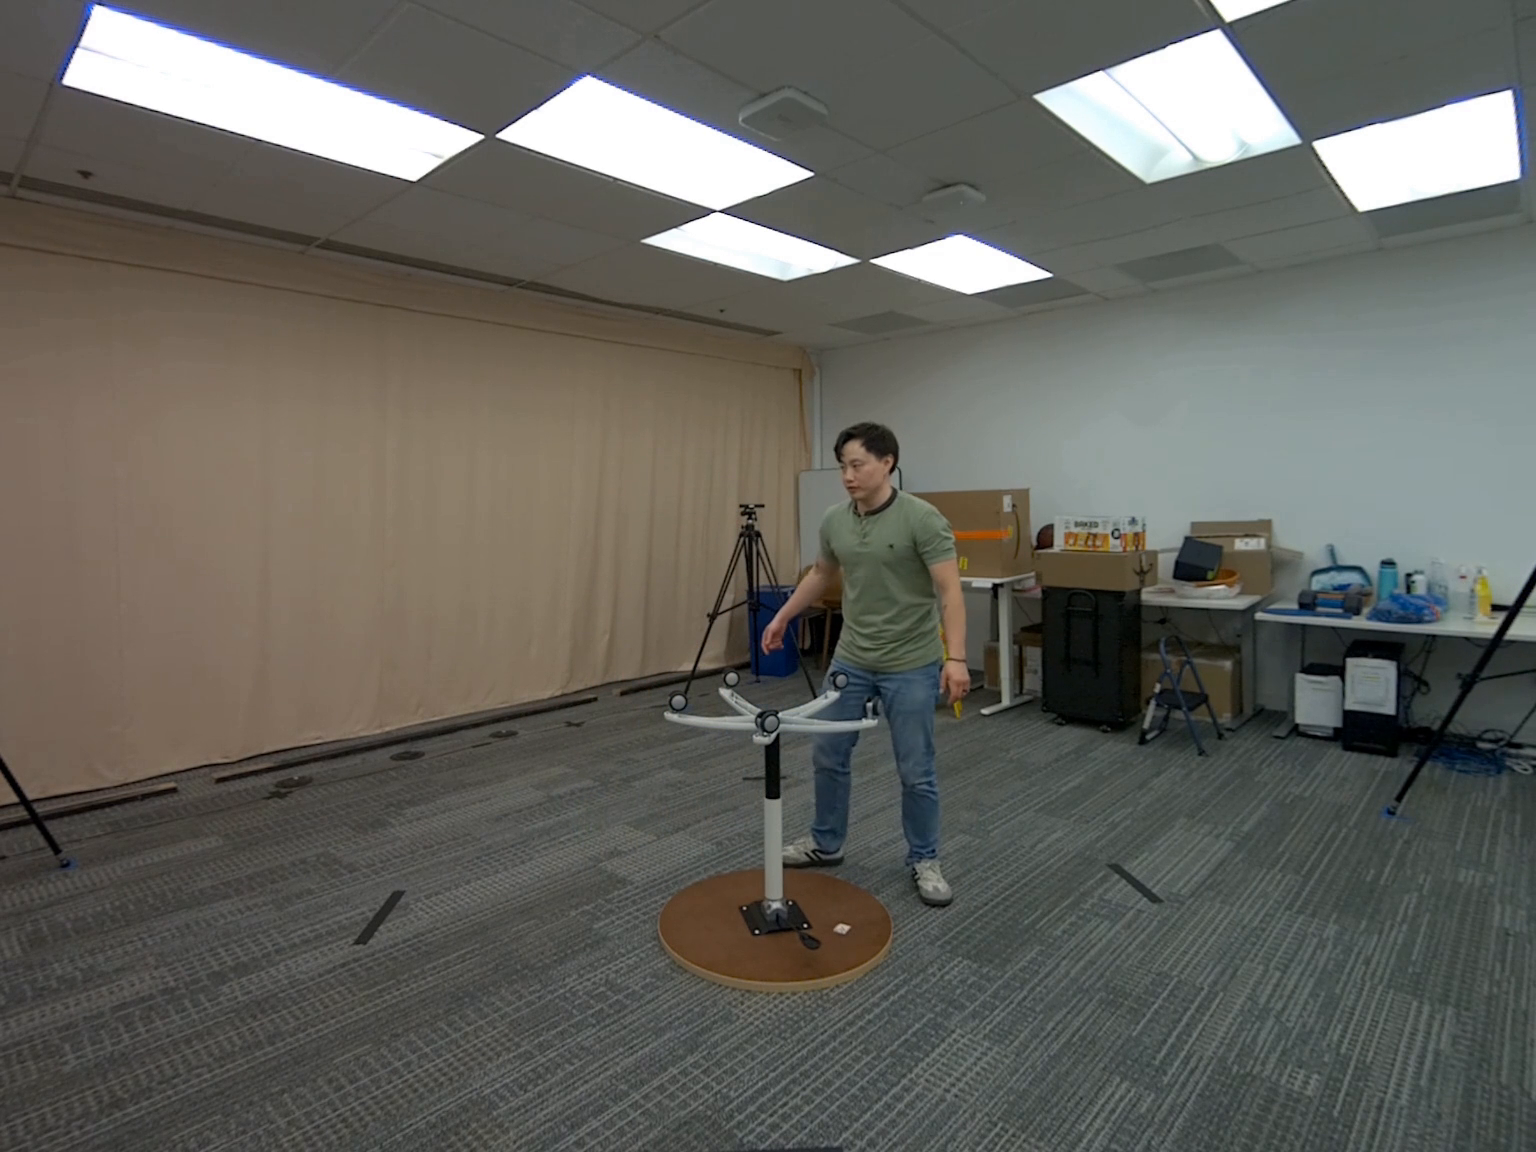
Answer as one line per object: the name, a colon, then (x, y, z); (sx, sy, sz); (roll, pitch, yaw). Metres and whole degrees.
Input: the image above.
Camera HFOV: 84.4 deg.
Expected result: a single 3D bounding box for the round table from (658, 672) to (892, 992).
round table: (0.014, 0.763, 2.753); (0.763, 0.792, 0.766); (-1, 3, -2)
